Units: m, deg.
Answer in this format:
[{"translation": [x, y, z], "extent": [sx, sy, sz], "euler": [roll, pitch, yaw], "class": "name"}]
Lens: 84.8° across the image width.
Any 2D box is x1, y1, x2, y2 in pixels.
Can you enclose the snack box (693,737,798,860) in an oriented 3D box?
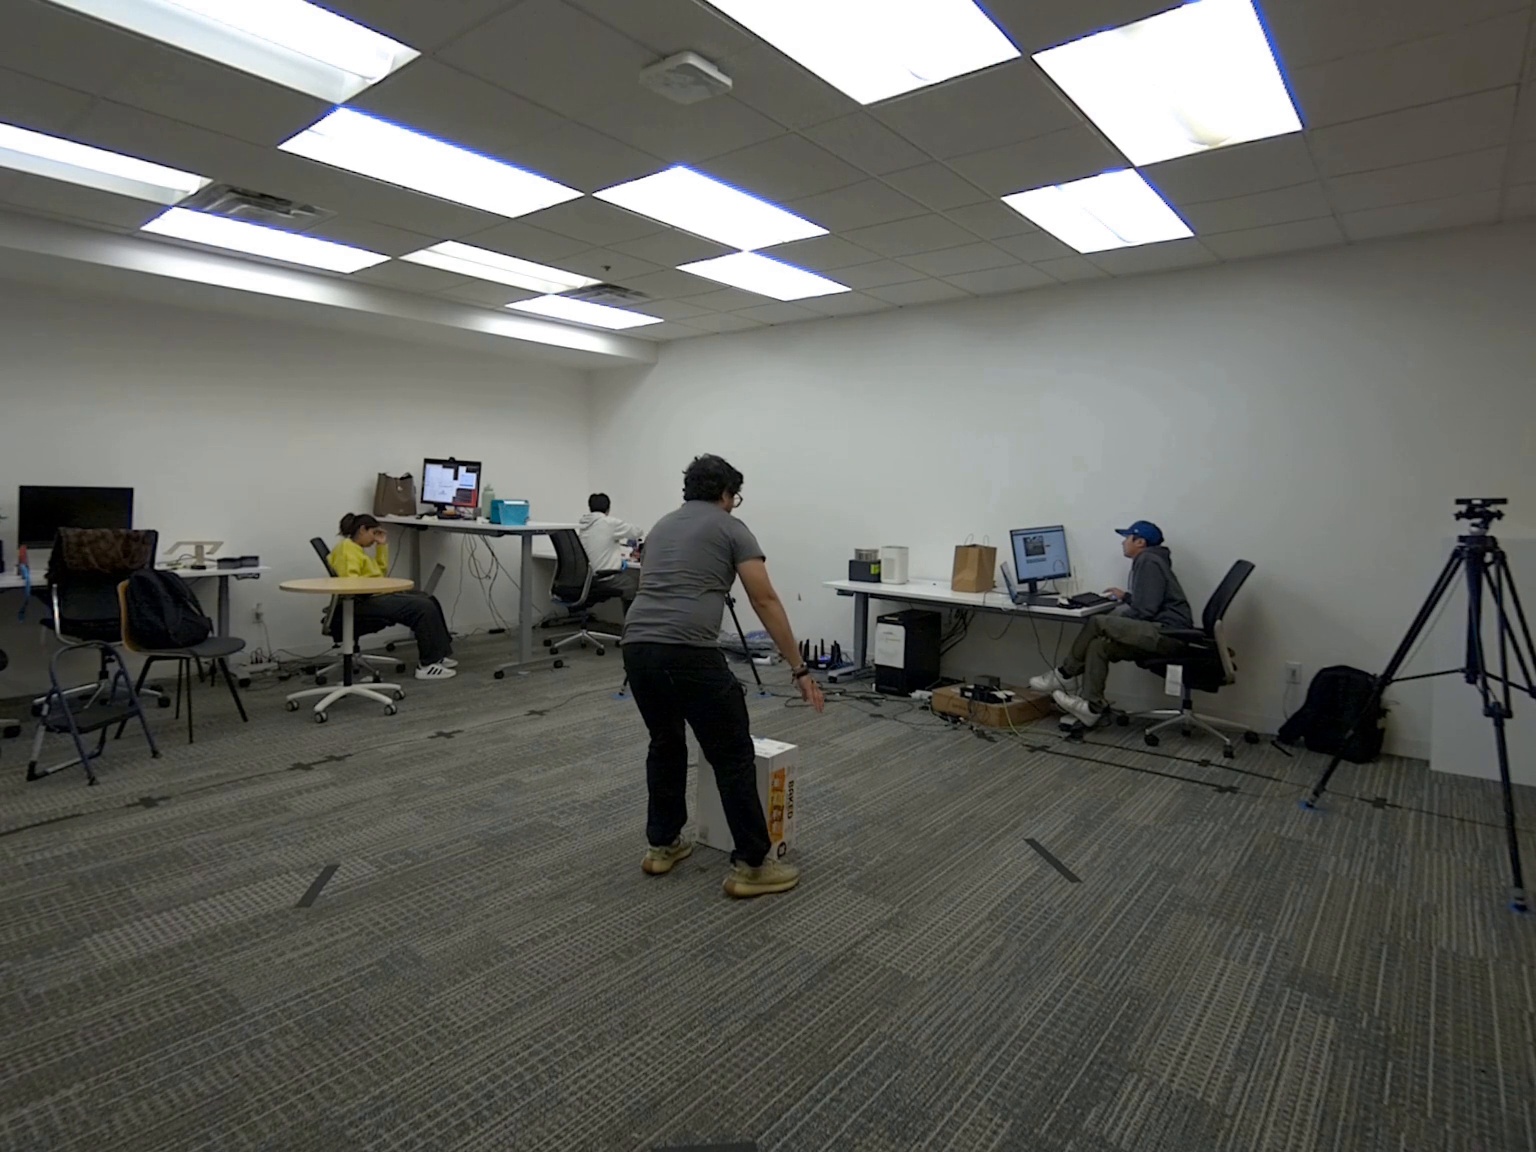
[{"translation": [-0.093, 0.849, 3.317], "extent": [0.351, 0.404, 0.200], "euler": [4, 4, 35], "class": "snack box"}]
